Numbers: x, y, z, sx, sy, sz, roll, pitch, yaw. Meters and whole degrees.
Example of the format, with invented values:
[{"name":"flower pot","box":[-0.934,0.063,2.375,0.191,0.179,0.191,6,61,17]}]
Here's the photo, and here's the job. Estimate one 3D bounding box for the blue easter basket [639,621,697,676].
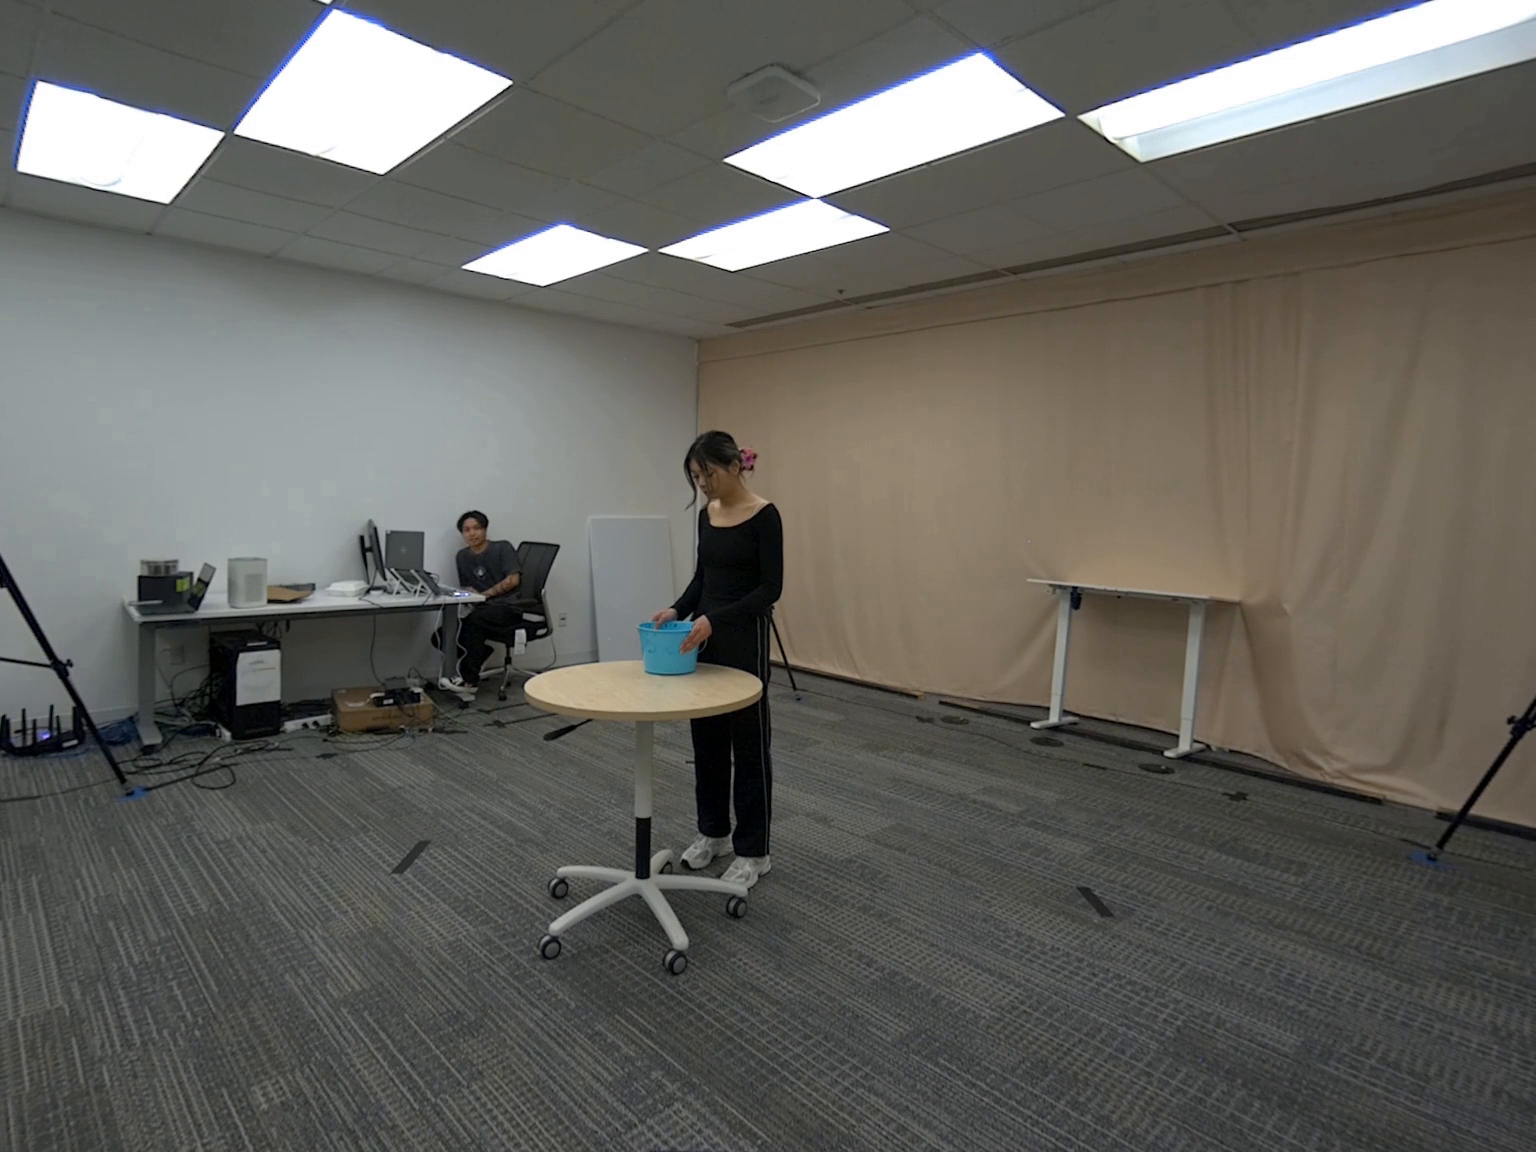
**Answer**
[{"name":"blue easter basket","box":[-0.346,0.254,2.947,0.243,0.155,0.244,2,4,-1]}]
